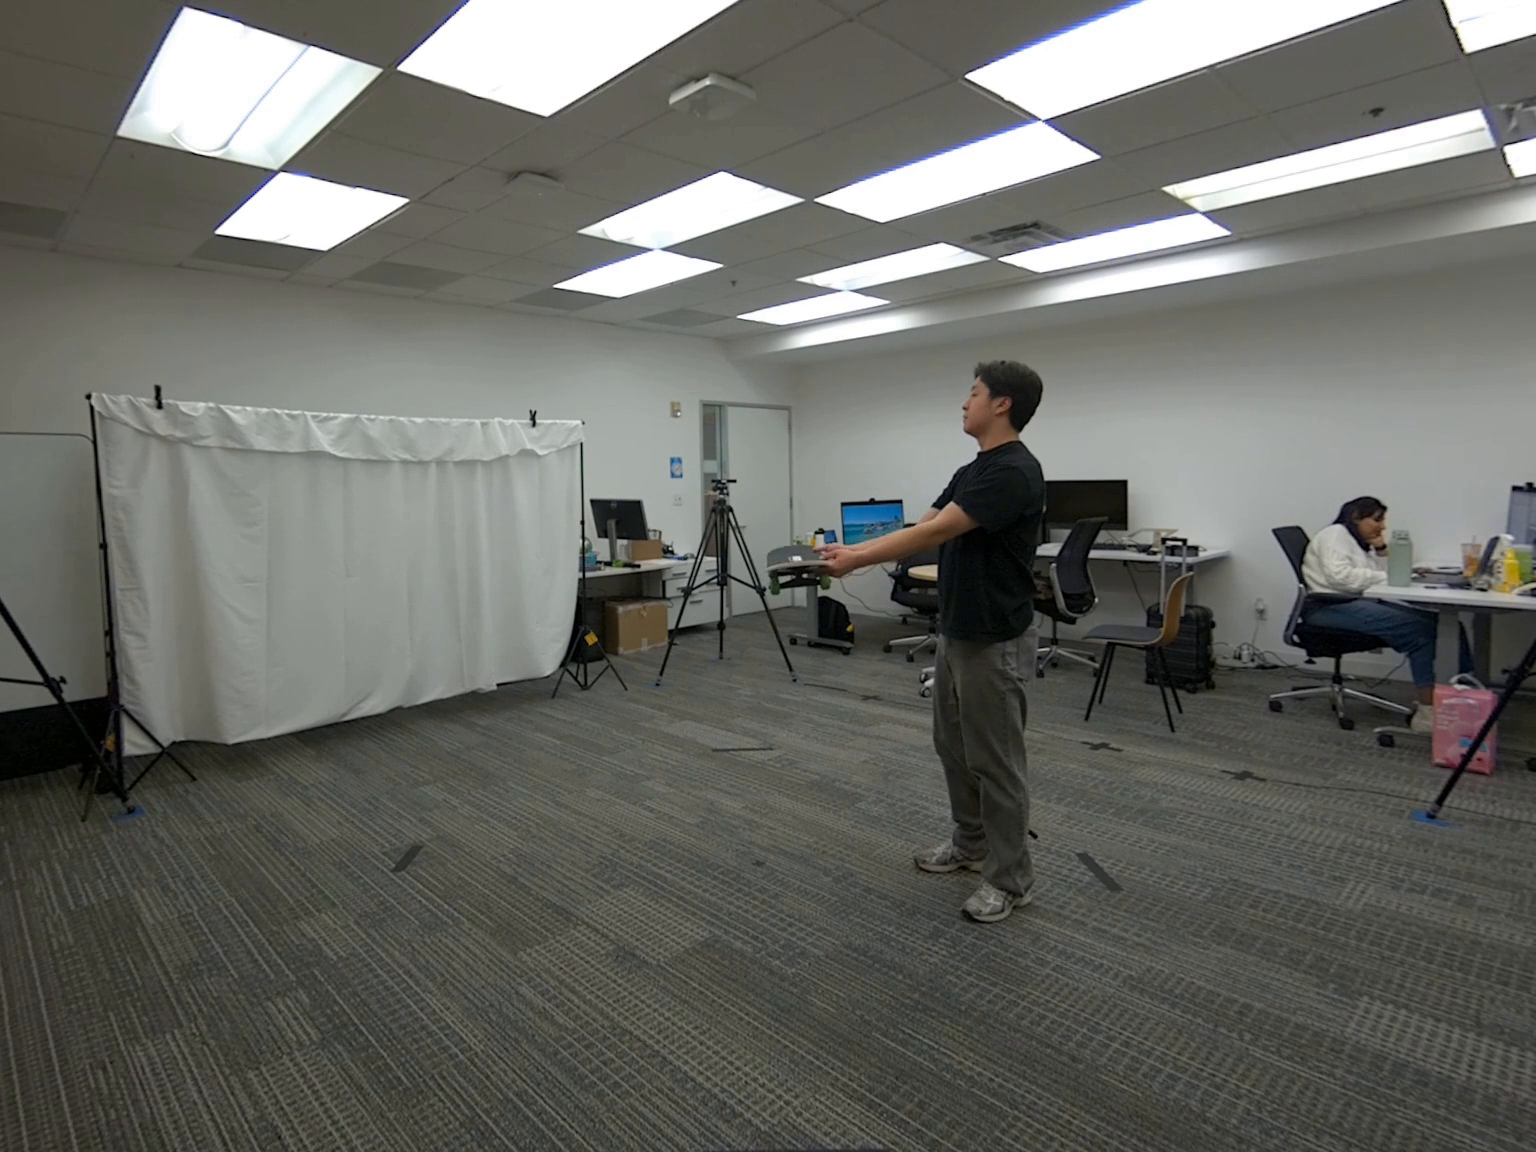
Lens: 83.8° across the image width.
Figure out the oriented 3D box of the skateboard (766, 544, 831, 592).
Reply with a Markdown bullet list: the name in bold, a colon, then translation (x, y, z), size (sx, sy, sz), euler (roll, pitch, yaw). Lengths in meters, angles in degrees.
- **skateboard**: translation (0.106, -0.020, 2.827), size (0.194, 0.110, 0.786), euler (-3, 5, 0)
